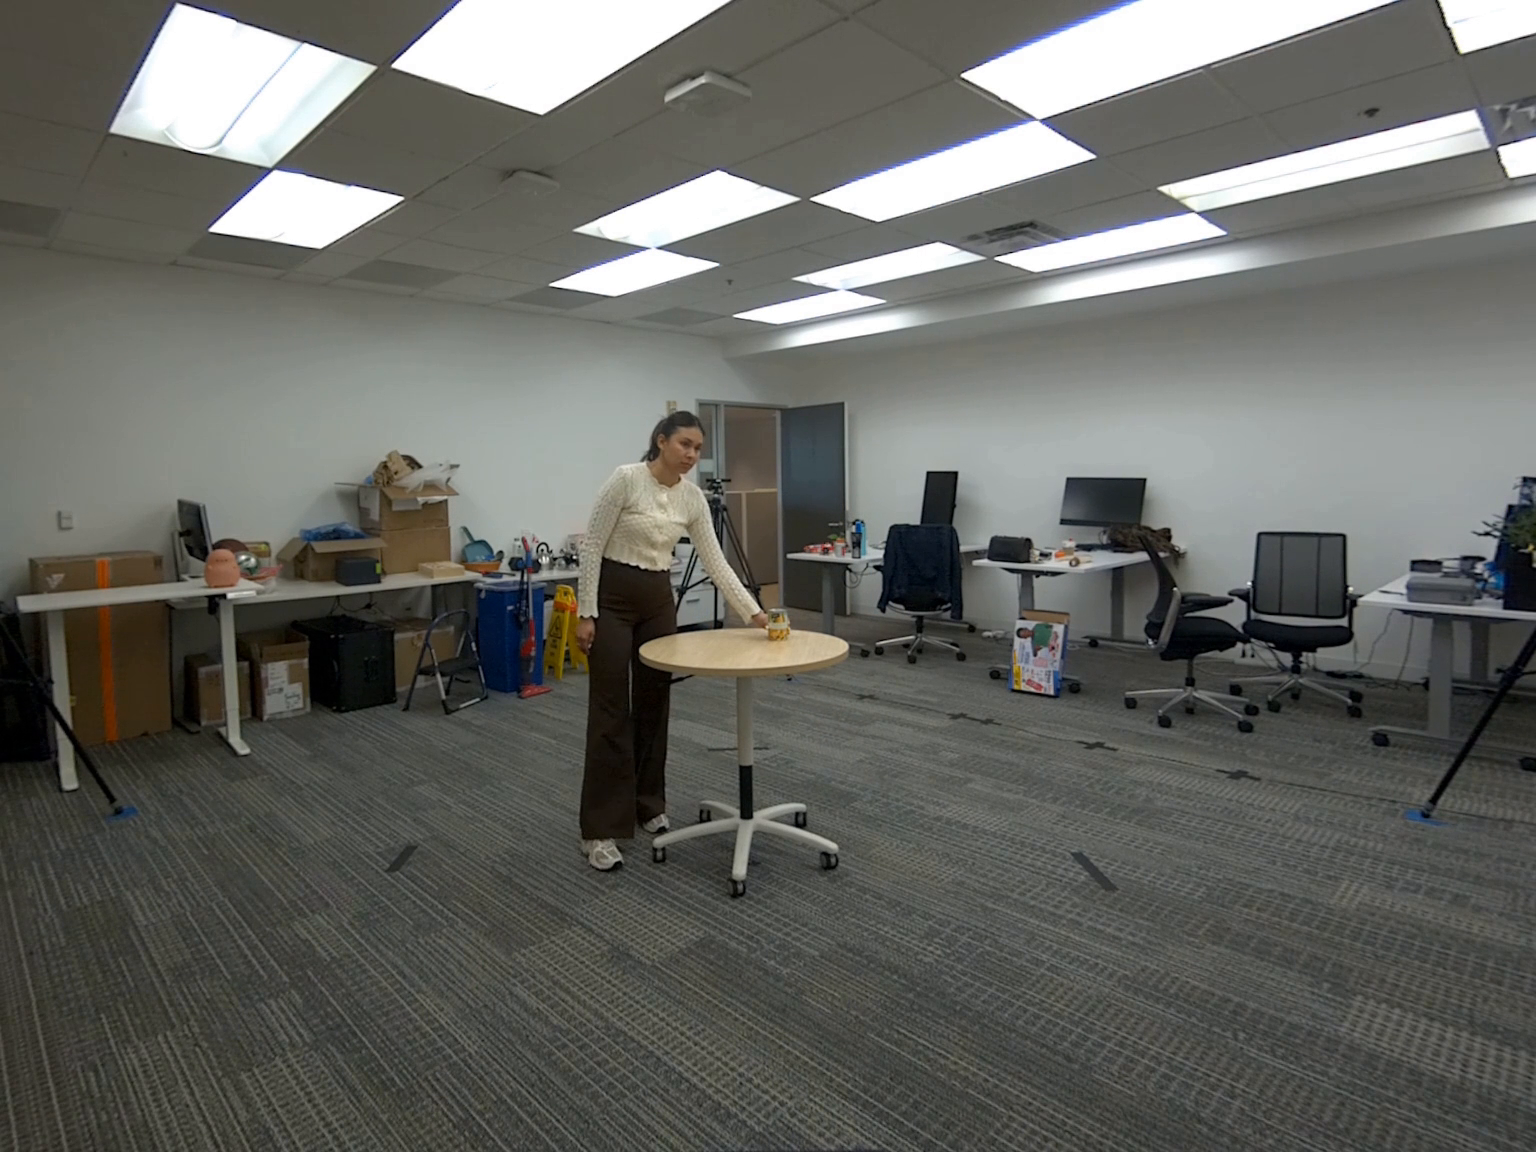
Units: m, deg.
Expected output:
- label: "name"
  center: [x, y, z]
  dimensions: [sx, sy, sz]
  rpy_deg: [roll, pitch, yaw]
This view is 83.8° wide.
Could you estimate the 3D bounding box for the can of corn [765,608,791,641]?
- label: "can of corn"
  center: [0.027, 0.187, 3.252]
  dimensions: [0.074, 0.111, 0.074]
  rpy_deg: [-2, 3, -2]
